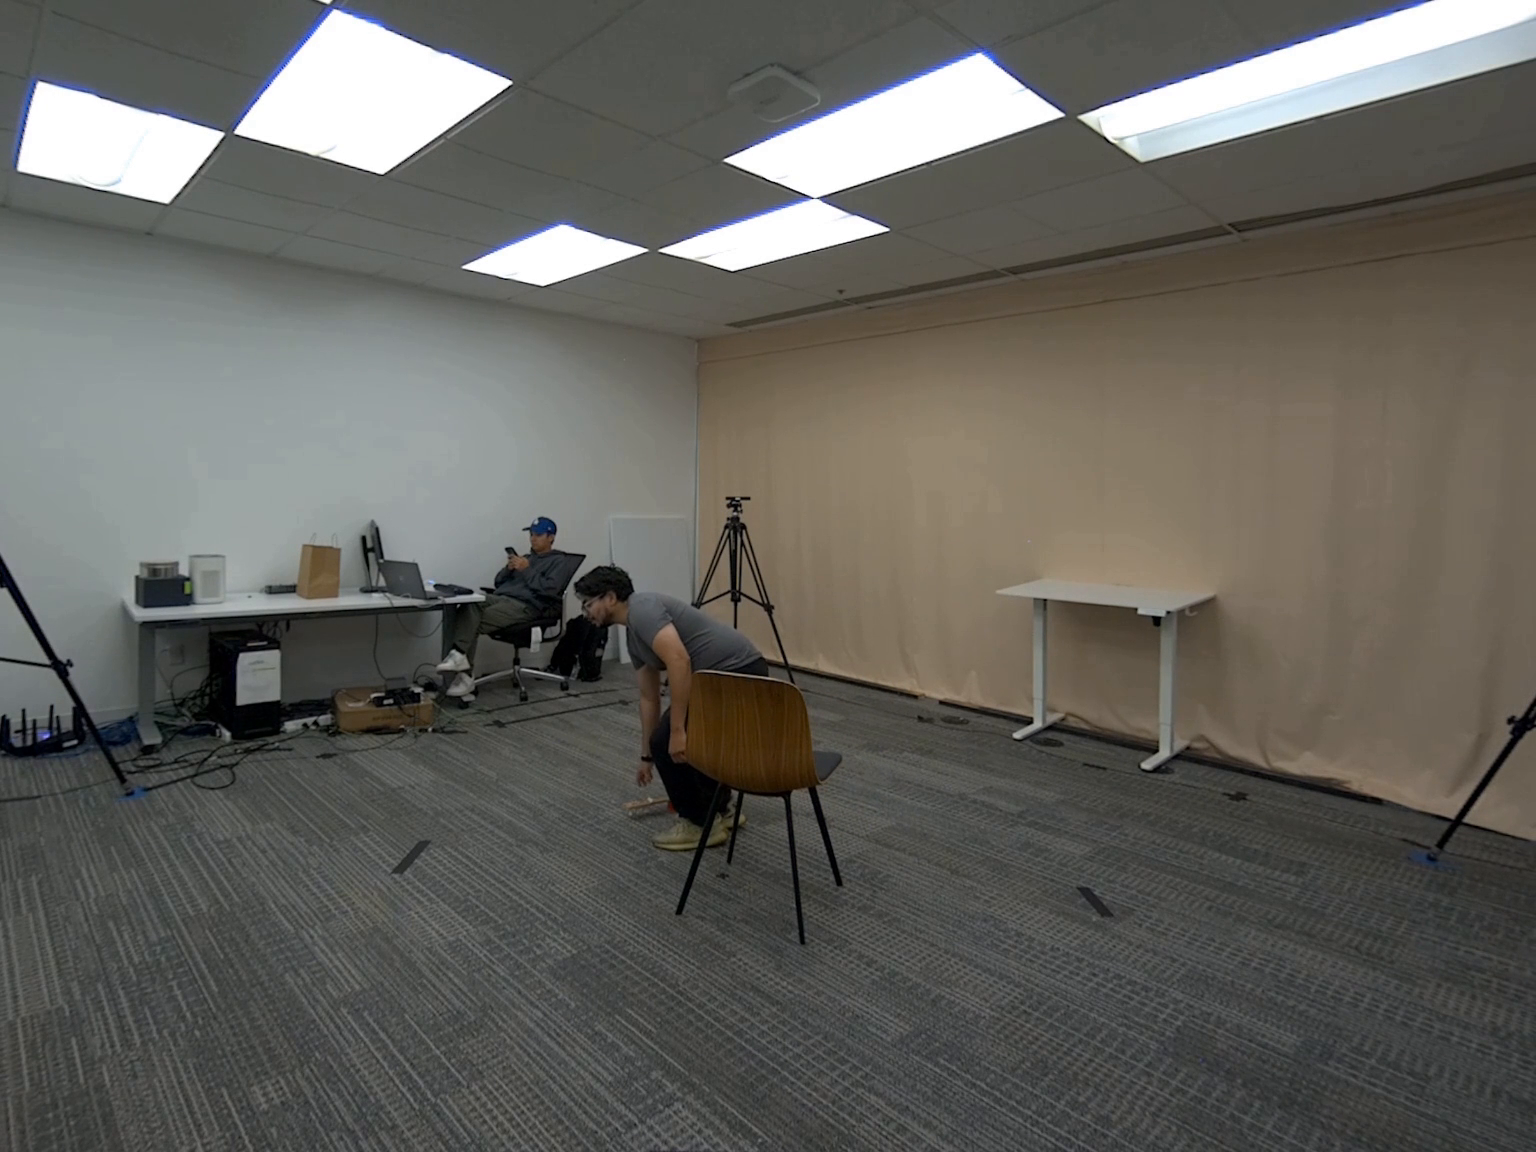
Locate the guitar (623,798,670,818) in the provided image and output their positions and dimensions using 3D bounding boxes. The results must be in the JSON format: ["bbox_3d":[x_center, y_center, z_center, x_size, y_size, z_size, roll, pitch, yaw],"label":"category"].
[{"bbox_3d":[-0.436,1.010,3.784,0.489,0.070,0.197,-1,6,-24],"label":"guitar"}]
